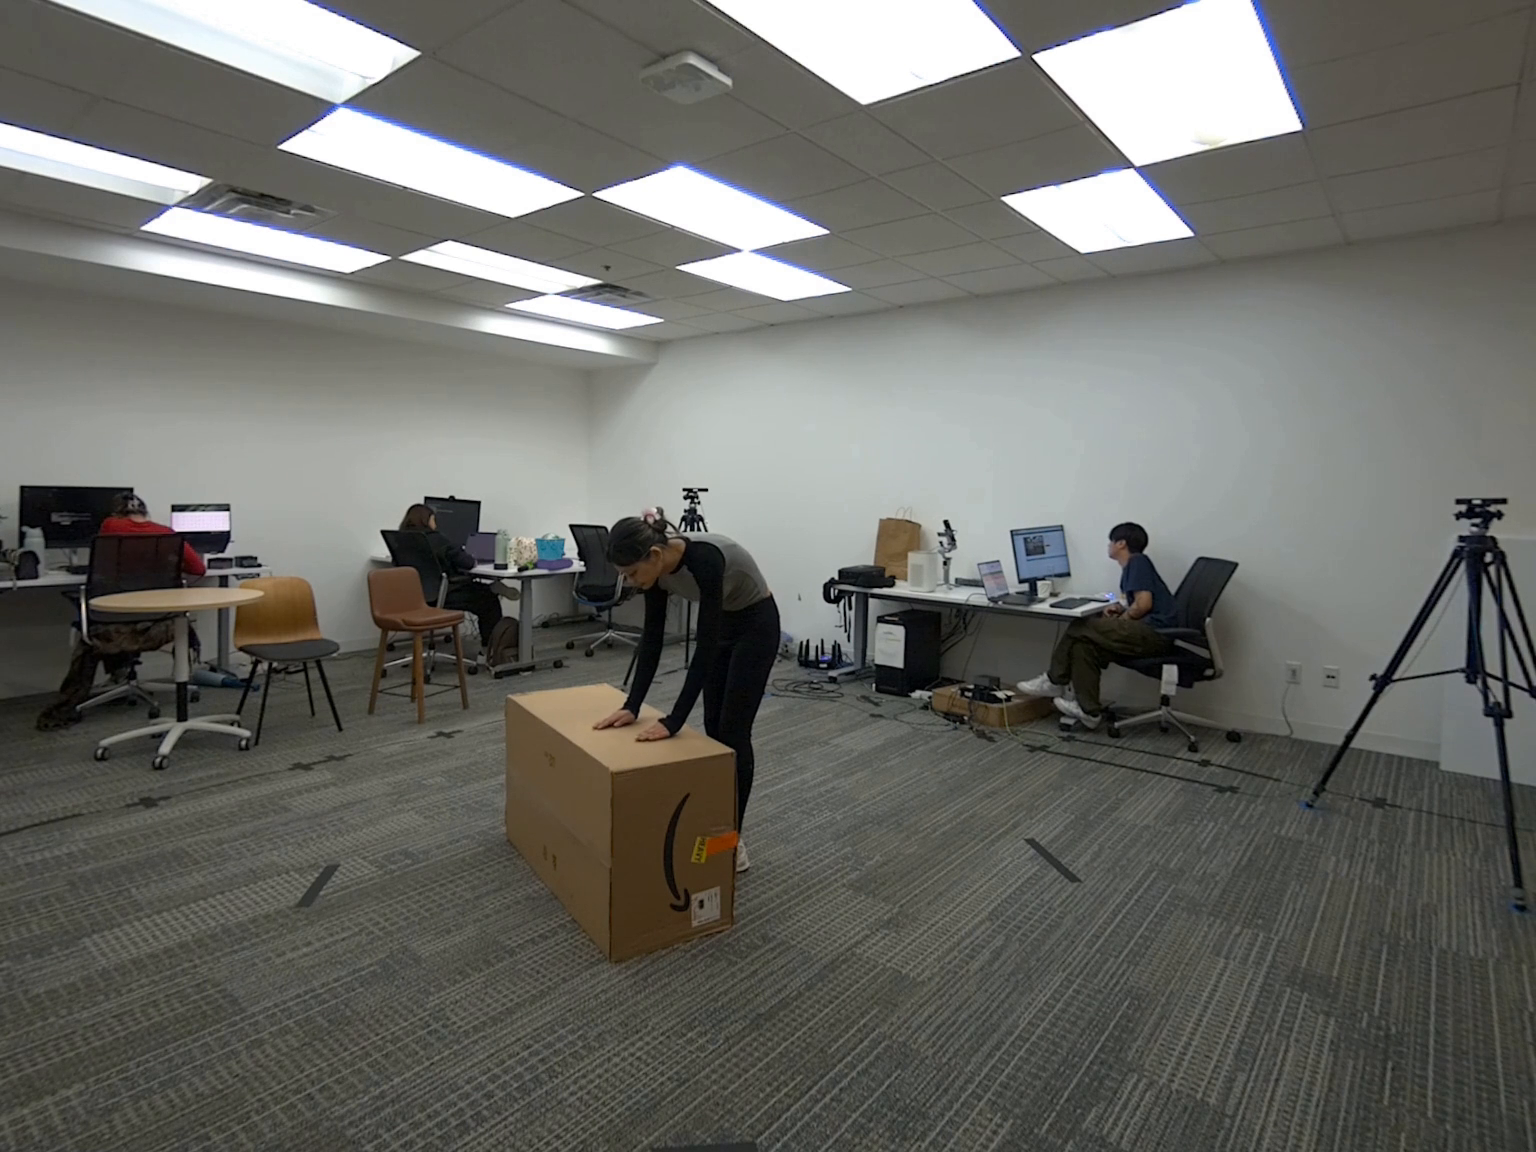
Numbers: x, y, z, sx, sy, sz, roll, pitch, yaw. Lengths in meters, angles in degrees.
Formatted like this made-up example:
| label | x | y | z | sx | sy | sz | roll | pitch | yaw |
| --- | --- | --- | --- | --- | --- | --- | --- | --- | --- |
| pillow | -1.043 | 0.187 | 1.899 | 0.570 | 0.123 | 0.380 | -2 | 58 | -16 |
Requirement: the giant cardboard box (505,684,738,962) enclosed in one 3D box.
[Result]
| label | x | y | z | sx | sy | sz | roll | pitch | yaw |
| --- | --- | --- | --- | --- | --- | --- | --- | --- | --- |
| giant cardboard box | -0.576 | 0.787 | 2.999 | 0.414 | 0.575 | 1.059 | -1 | 6 | -33 |
